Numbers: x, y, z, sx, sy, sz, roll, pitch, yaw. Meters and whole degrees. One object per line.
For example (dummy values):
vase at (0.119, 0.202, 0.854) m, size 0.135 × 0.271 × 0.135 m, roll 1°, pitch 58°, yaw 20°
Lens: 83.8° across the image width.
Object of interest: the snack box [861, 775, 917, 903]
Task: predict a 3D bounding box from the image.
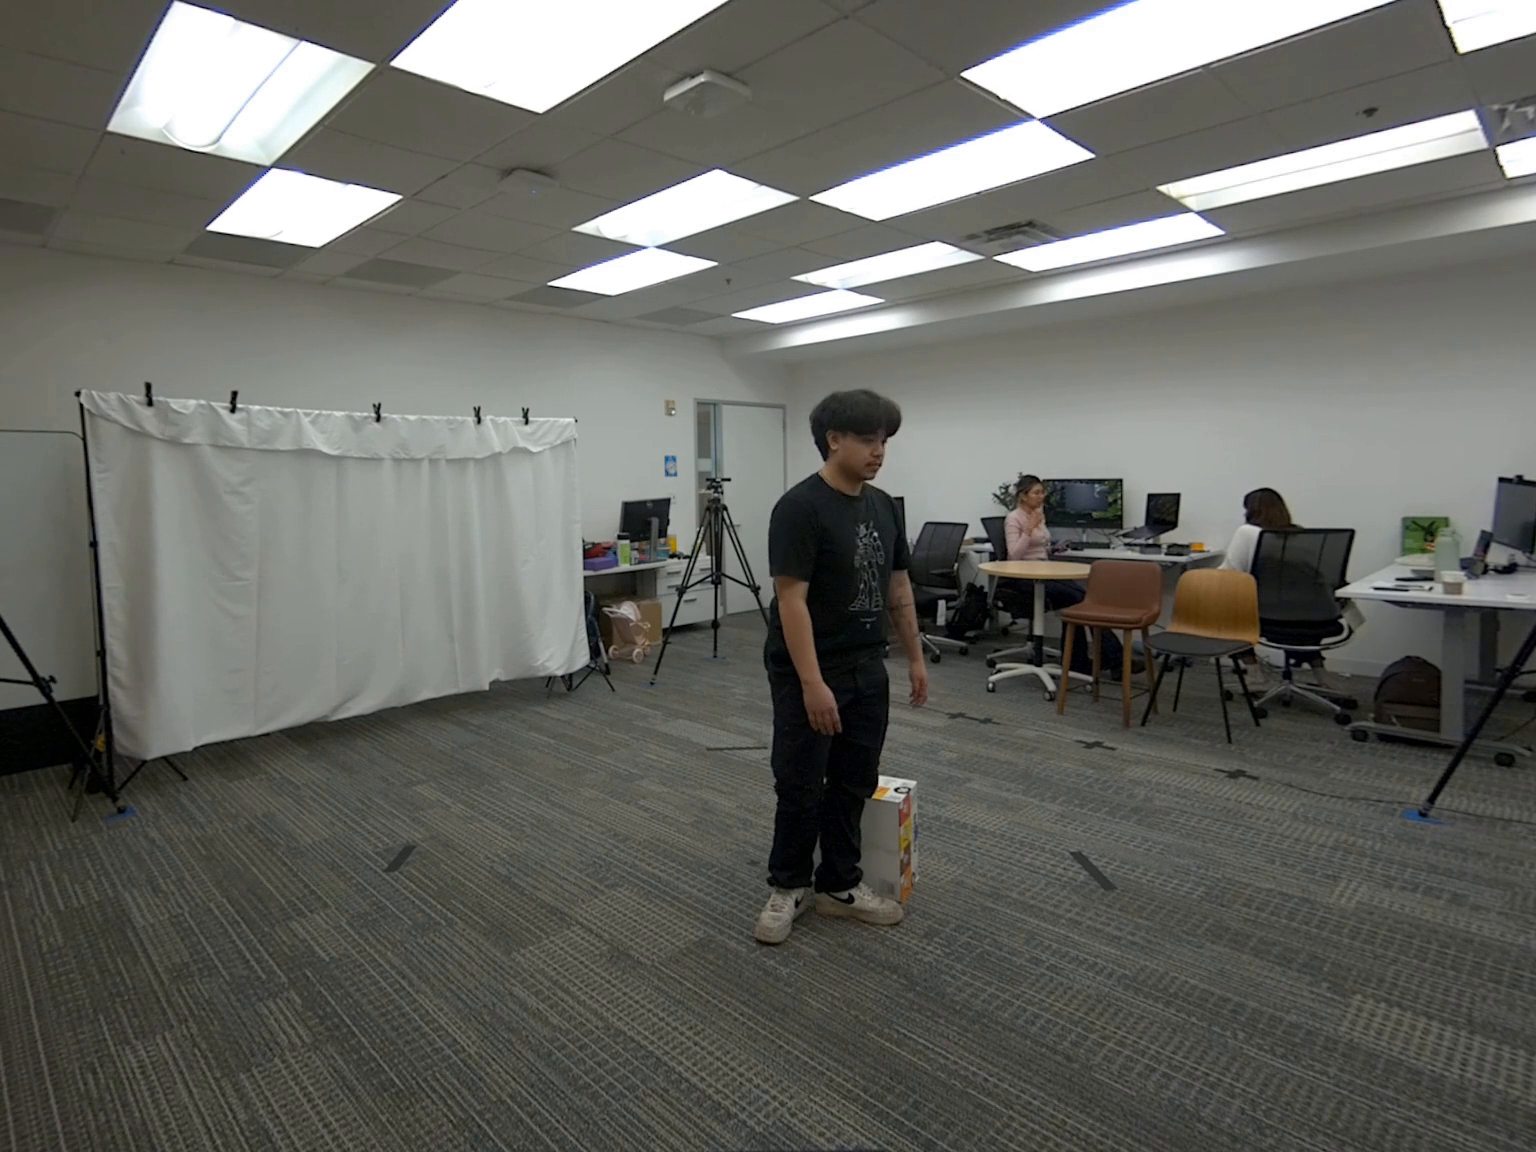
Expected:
snack box at (0.301, 0.882, 2.970) m, size 0.415 × 0.339 × 0.201 m, roll 1°, pitch 5°, yaw 28°
